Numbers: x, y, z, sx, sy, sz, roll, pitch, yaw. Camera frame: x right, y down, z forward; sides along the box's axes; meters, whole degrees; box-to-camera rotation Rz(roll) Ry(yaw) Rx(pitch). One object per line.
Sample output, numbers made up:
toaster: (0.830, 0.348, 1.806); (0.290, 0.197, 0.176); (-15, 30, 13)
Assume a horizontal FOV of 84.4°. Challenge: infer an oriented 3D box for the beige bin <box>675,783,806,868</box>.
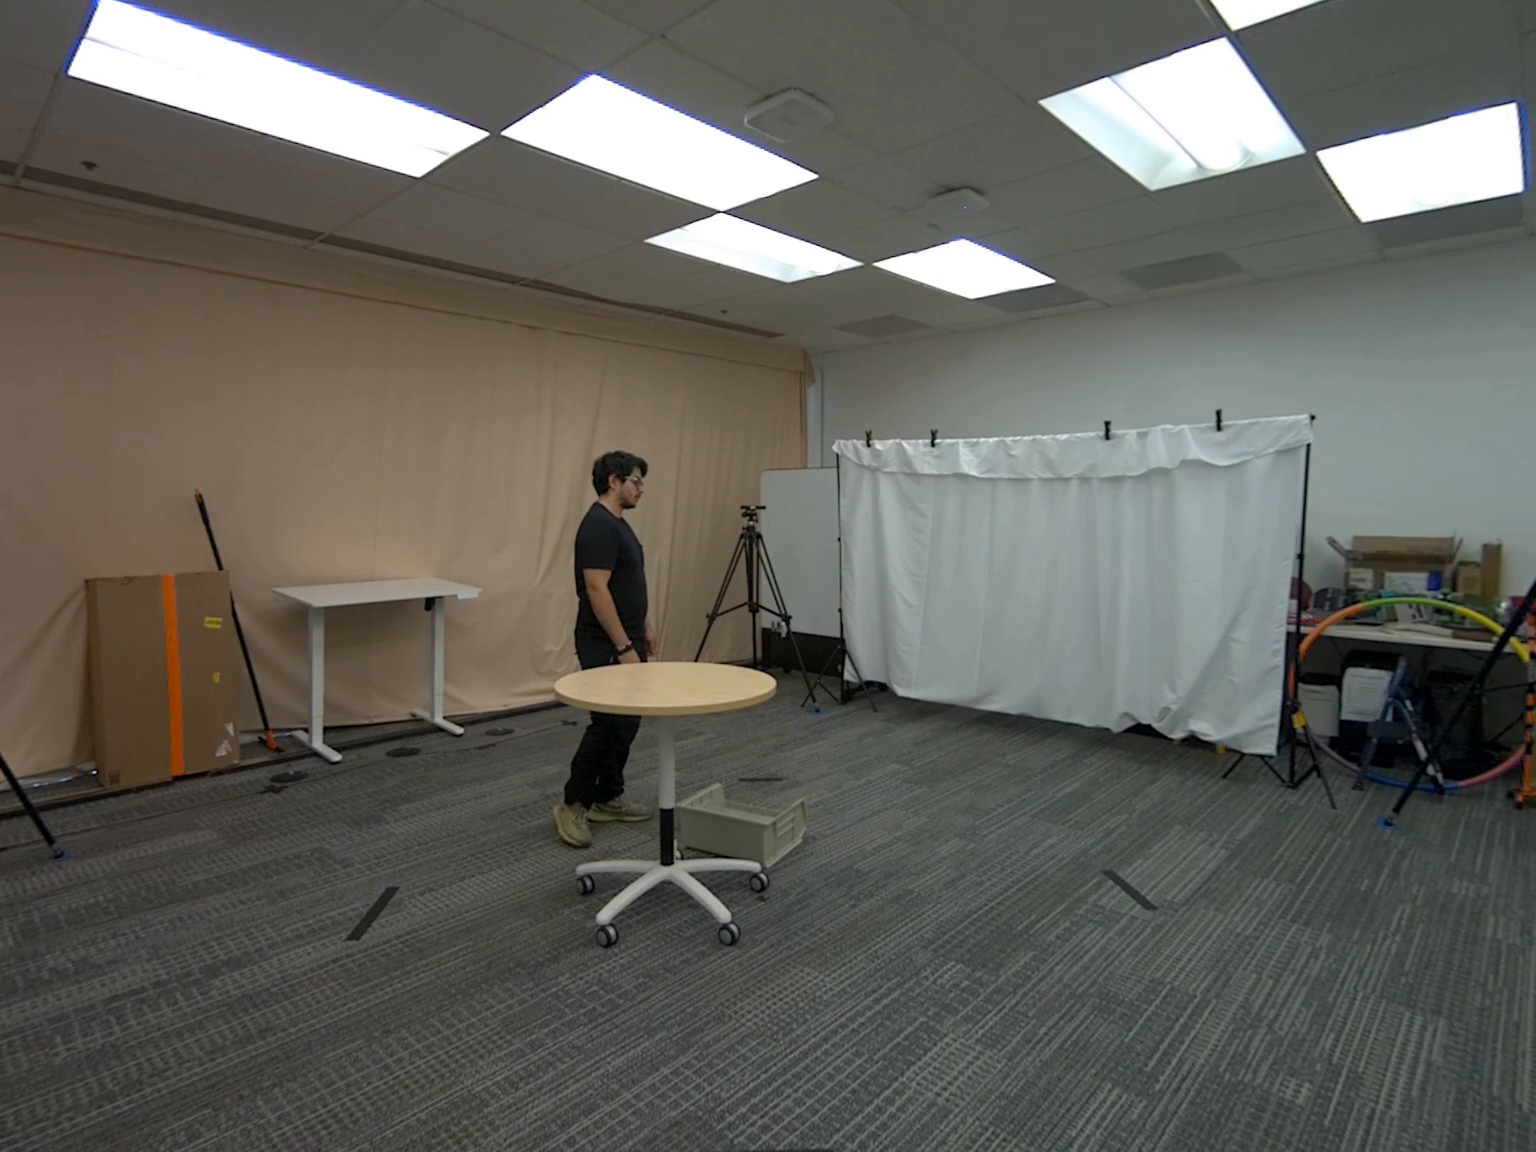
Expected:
beige bin: (-0.103, 1.016, 3.478); (0.434, 0.188, 0.368); (2, 6, 29)
